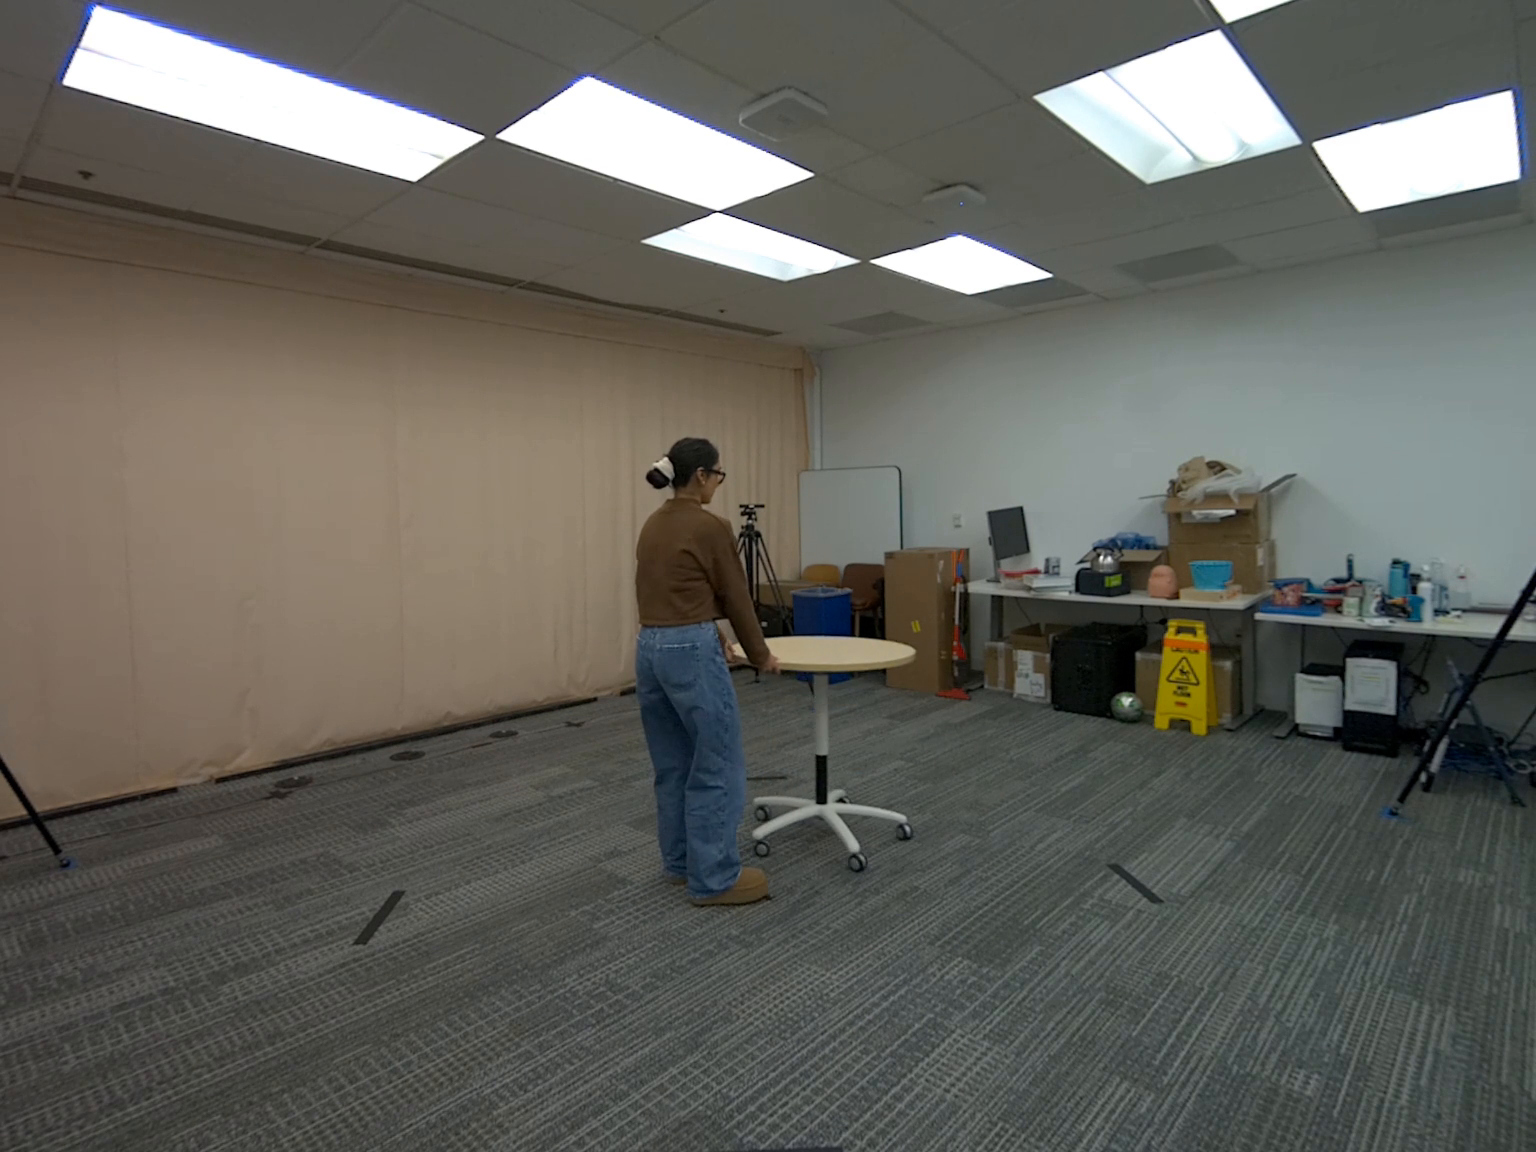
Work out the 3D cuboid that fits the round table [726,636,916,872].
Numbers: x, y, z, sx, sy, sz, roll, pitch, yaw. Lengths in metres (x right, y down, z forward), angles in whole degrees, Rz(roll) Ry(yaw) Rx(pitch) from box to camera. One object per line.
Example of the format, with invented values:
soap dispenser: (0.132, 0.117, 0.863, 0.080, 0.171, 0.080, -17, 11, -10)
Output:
round table: (0.219, 0.696, 3.478, 0.784, 0.785, 0.787, -1, 2, -2)
